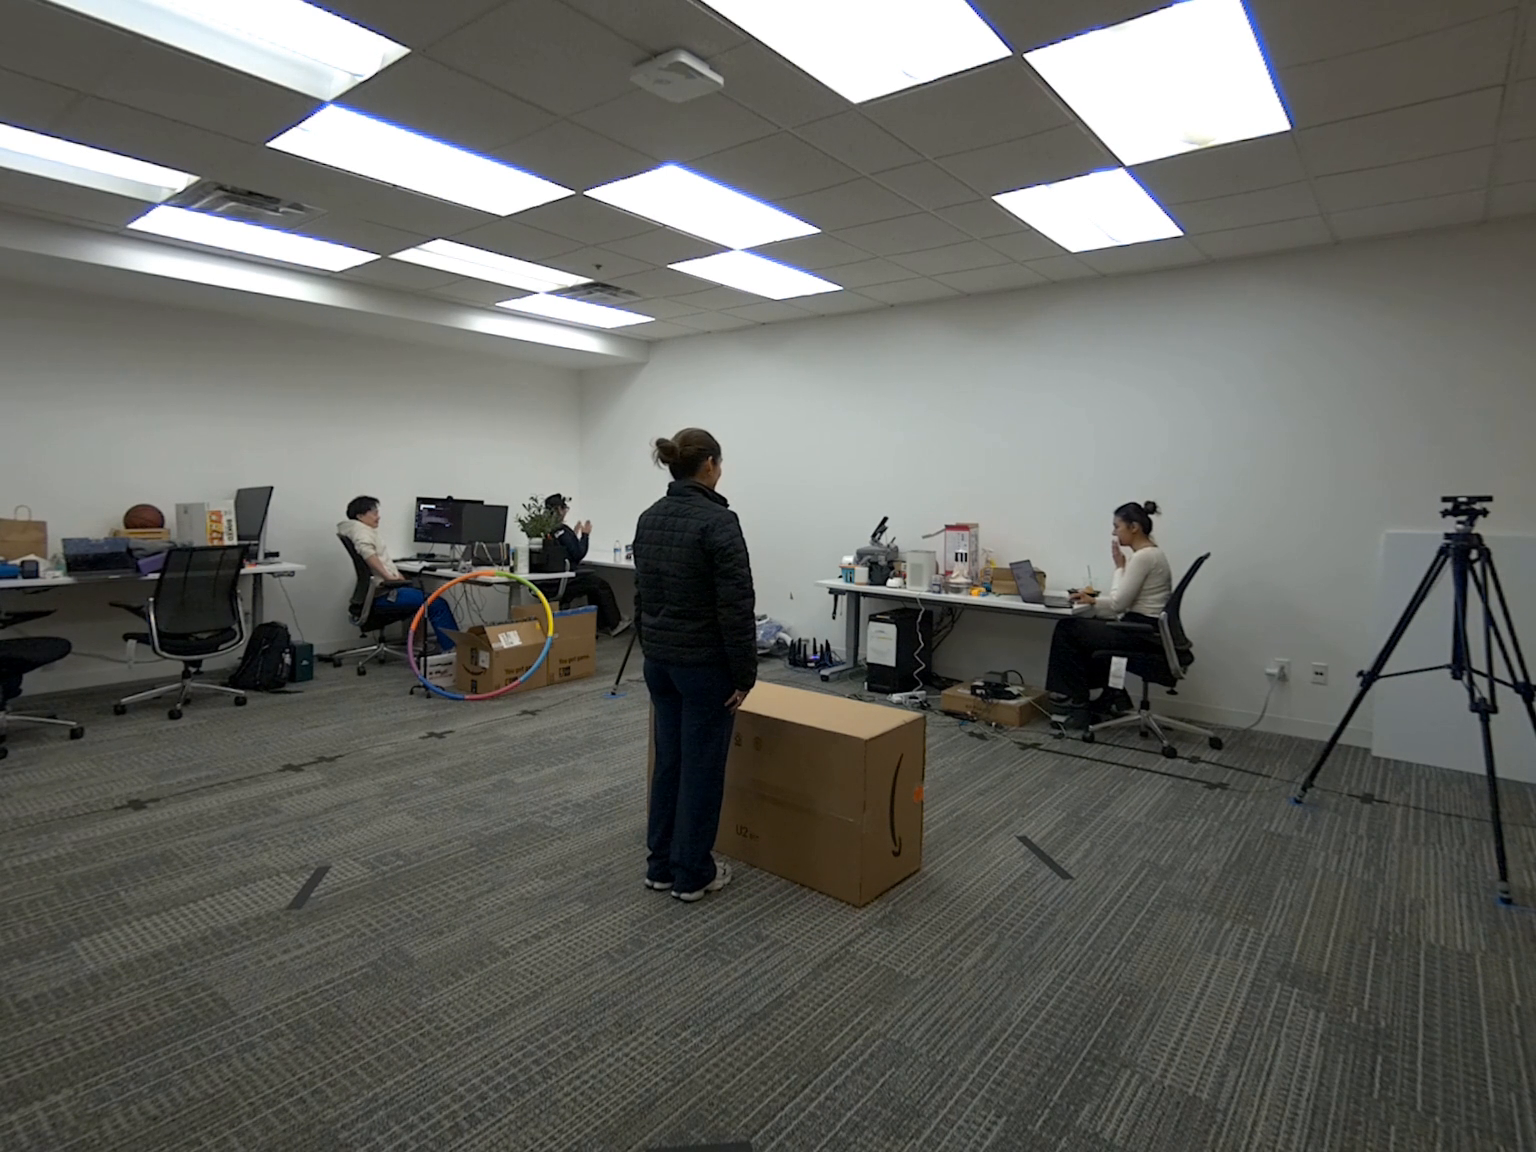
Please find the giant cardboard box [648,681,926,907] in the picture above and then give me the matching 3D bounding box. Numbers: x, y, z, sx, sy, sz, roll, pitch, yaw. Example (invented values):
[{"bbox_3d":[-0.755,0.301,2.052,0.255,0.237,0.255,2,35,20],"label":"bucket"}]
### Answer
[{"bbox_3d":[0.062,0.764,3.319,1.062,0.581,0.434,6,7,41],"label":"giant cardboard box"}]
